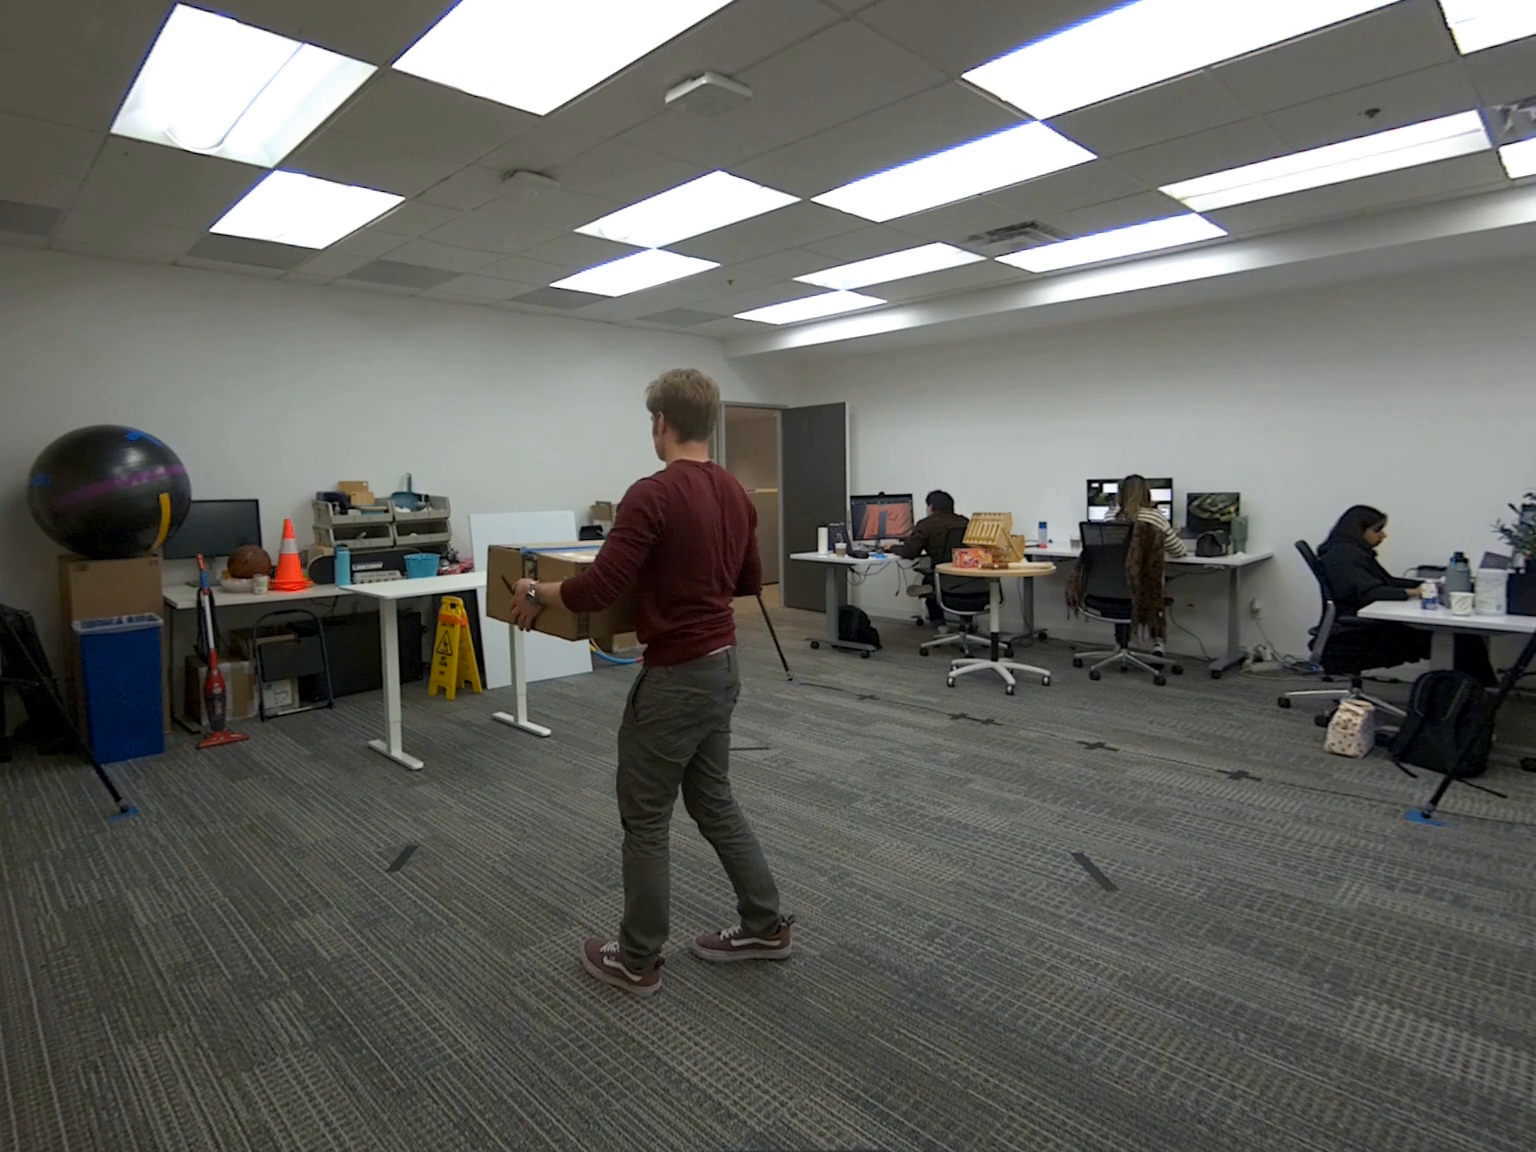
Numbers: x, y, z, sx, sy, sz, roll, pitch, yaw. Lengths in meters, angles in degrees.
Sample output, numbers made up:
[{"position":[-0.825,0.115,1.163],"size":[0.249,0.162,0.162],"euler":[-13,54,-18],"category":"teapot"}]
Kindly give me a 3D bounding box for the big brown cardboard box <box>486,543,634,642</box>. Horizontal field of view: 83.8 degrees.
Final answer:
[{"position":[-0.496,0.022,2.595],"size":[0.431,0.232,0.573],"euler":[8,9,38],"category":"big brown cardboard box"}]
